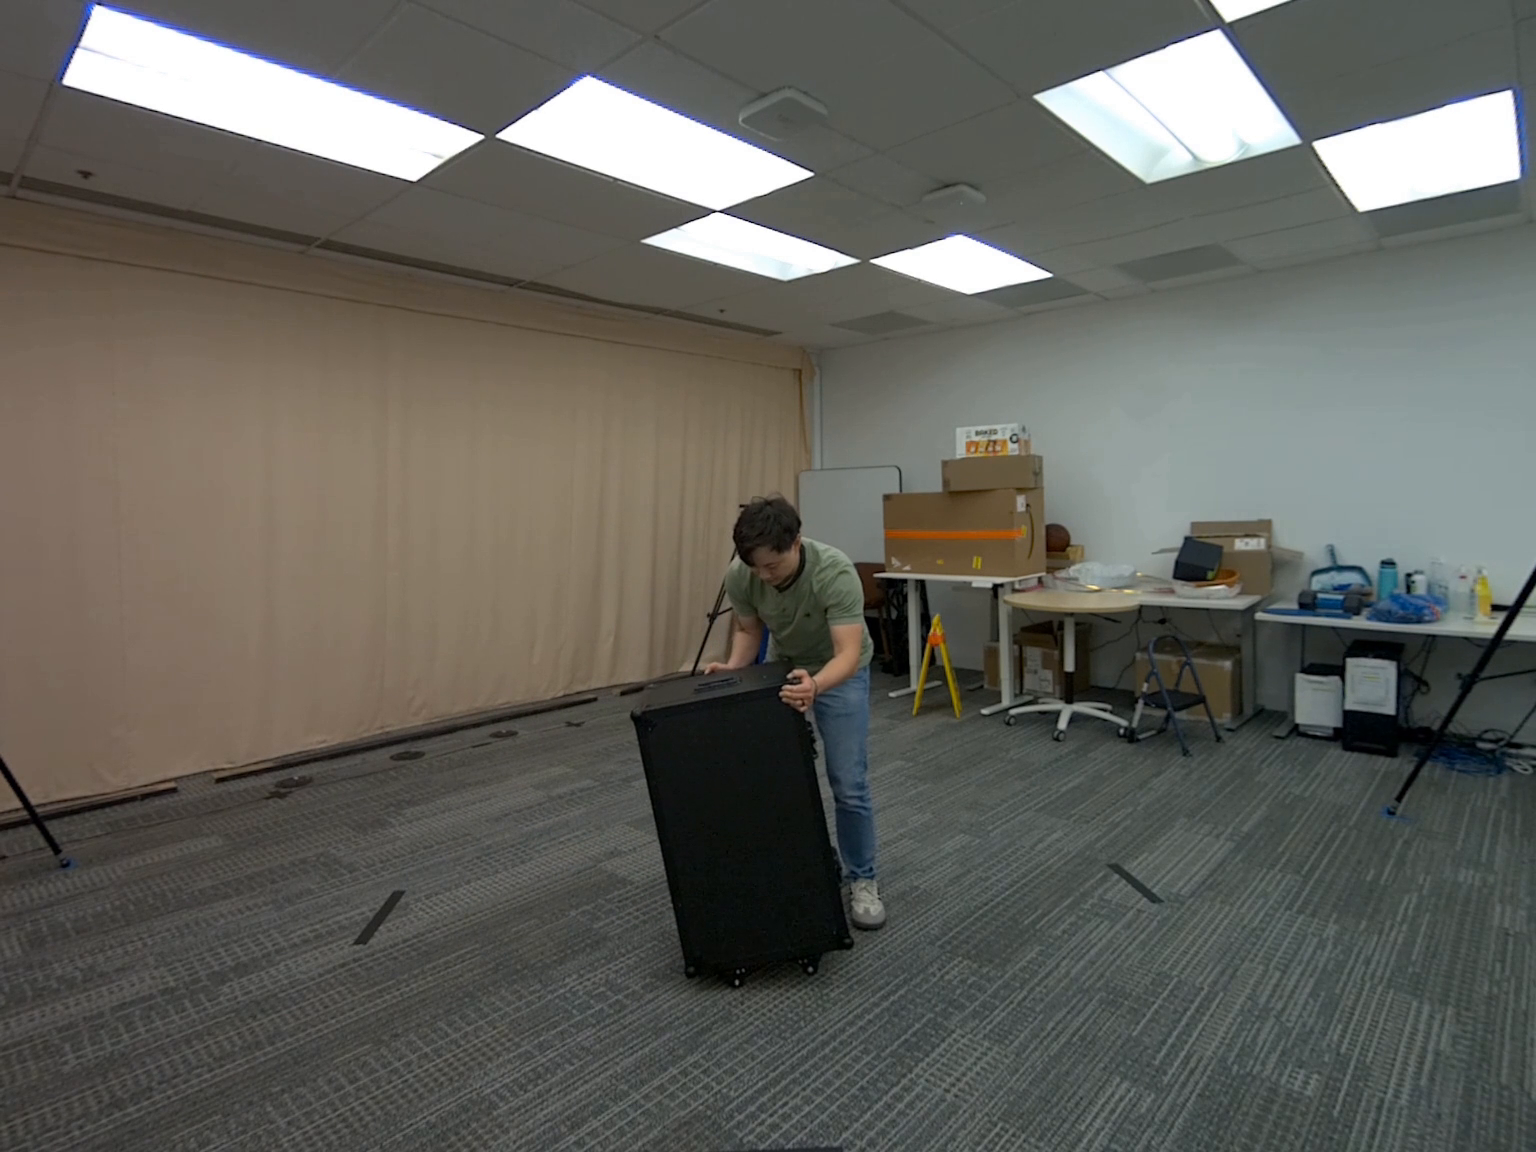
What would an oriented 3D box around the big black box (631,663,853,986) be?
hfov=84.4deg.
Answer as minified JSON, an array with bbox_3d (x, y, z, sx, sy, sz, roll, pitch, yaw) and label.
[{"bbox_3d":[-0.080,0.688,2.553,0.523,0.859,0.396,-11,4,3],"label":"big black box"}]
